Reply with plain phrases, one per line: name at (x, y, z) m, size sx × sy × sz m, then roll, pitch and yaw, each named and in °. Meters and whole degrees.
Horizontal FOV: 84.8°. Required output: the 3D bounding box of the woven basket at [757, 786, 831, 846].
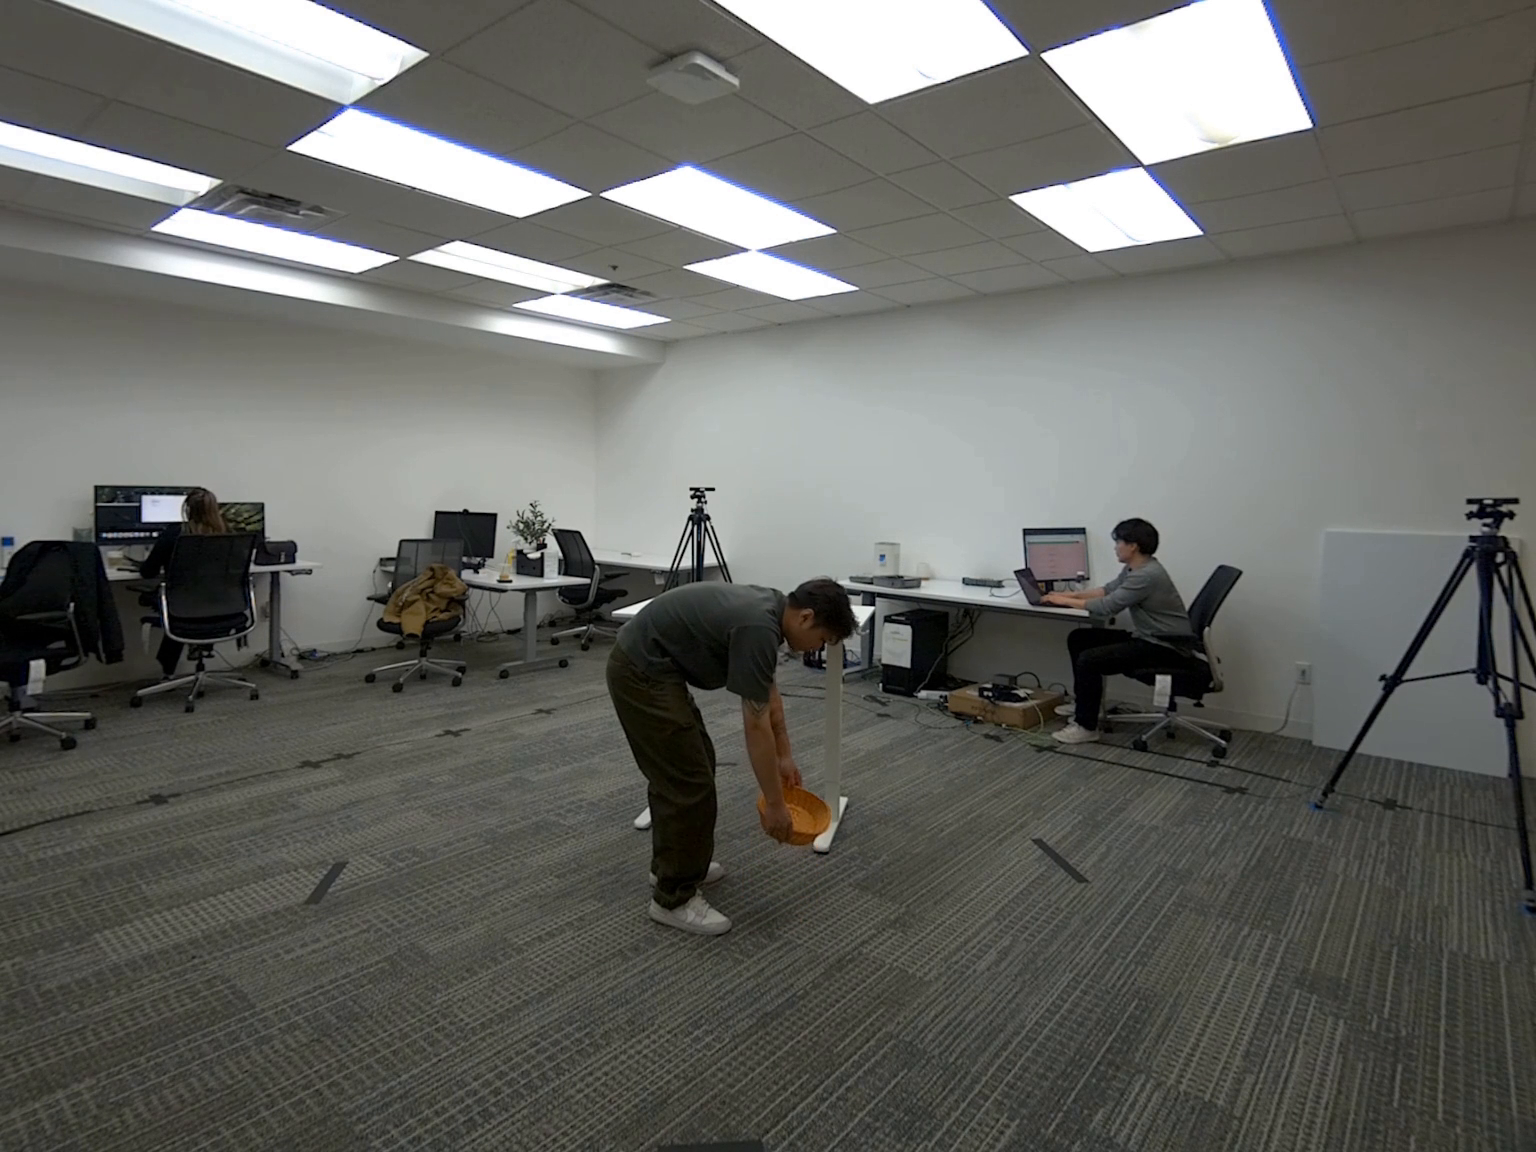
woven basket at (0.068, 0.801, 2.812) m, size 0.258 × 0.073 × 0.345 m, roll 17°, pitch 9°, yaw 15°
